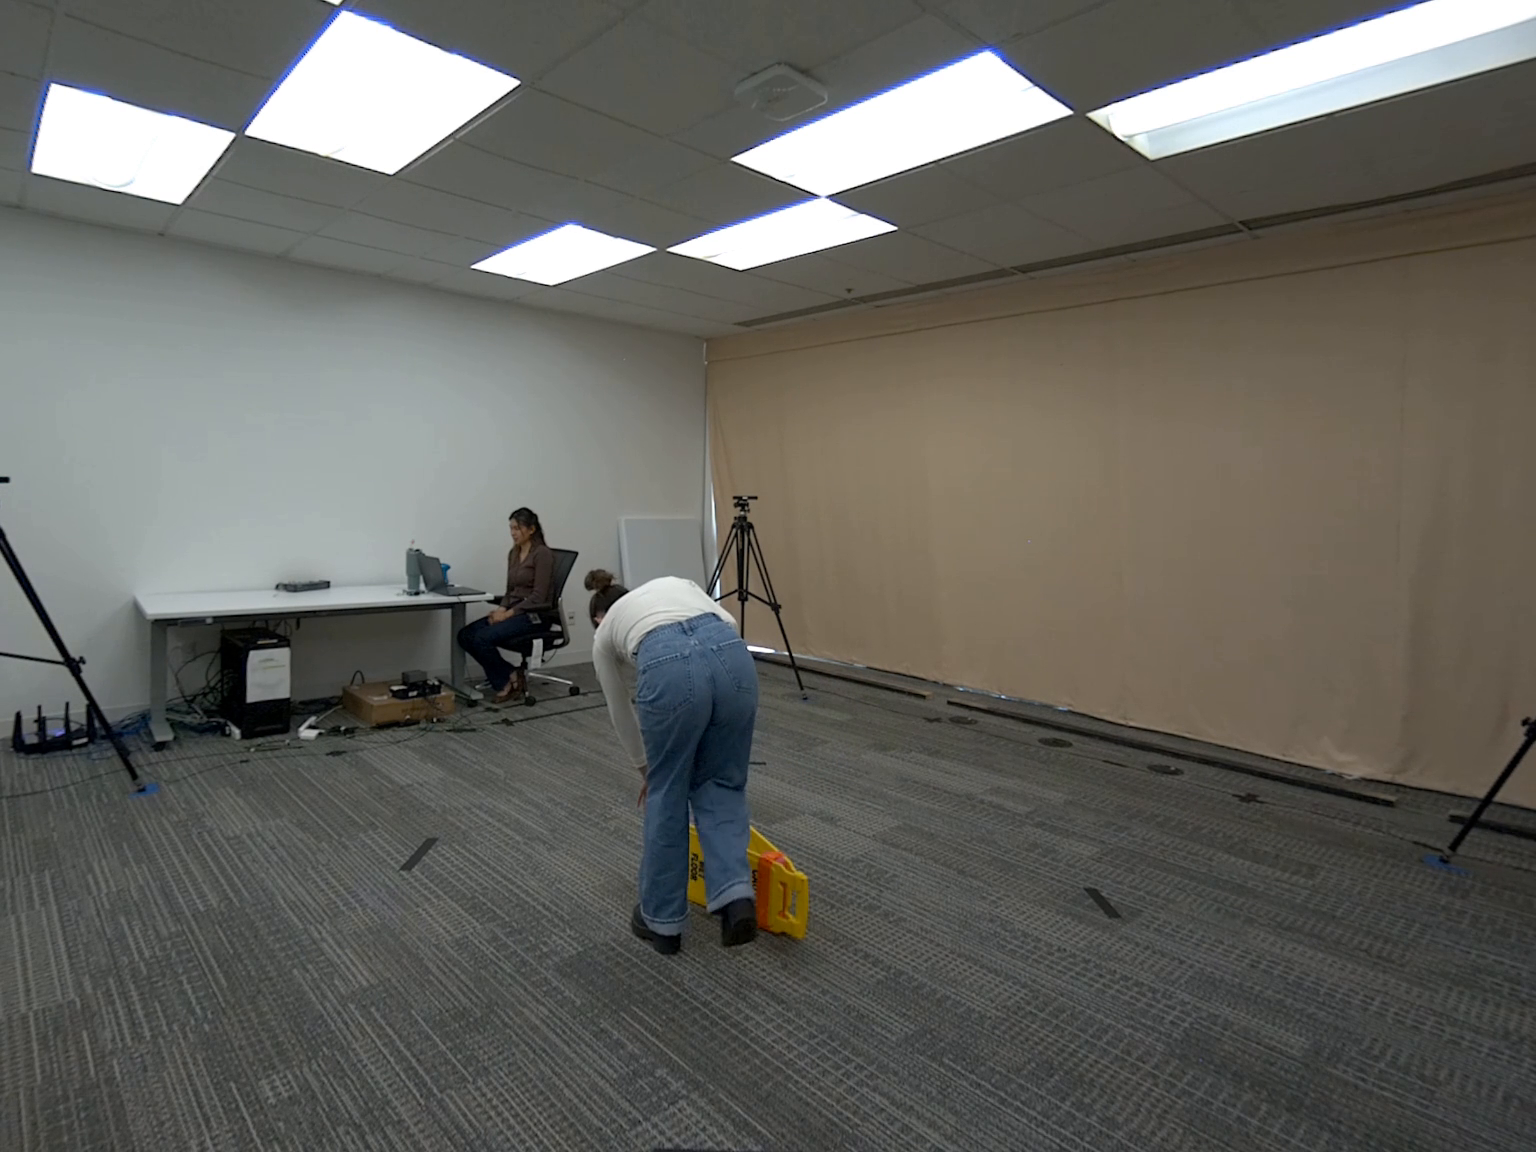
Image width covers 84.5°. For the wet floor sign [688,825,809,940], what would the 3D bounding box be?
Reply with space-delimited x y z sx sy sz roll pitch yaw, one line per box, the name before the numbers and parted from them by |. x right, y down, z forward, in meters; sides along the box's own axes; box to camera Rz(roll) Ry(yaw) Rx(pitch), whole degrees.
wet floor sign | -0.107 1.000 2.854 0.283 0.281 0.663 -4 8 -42
